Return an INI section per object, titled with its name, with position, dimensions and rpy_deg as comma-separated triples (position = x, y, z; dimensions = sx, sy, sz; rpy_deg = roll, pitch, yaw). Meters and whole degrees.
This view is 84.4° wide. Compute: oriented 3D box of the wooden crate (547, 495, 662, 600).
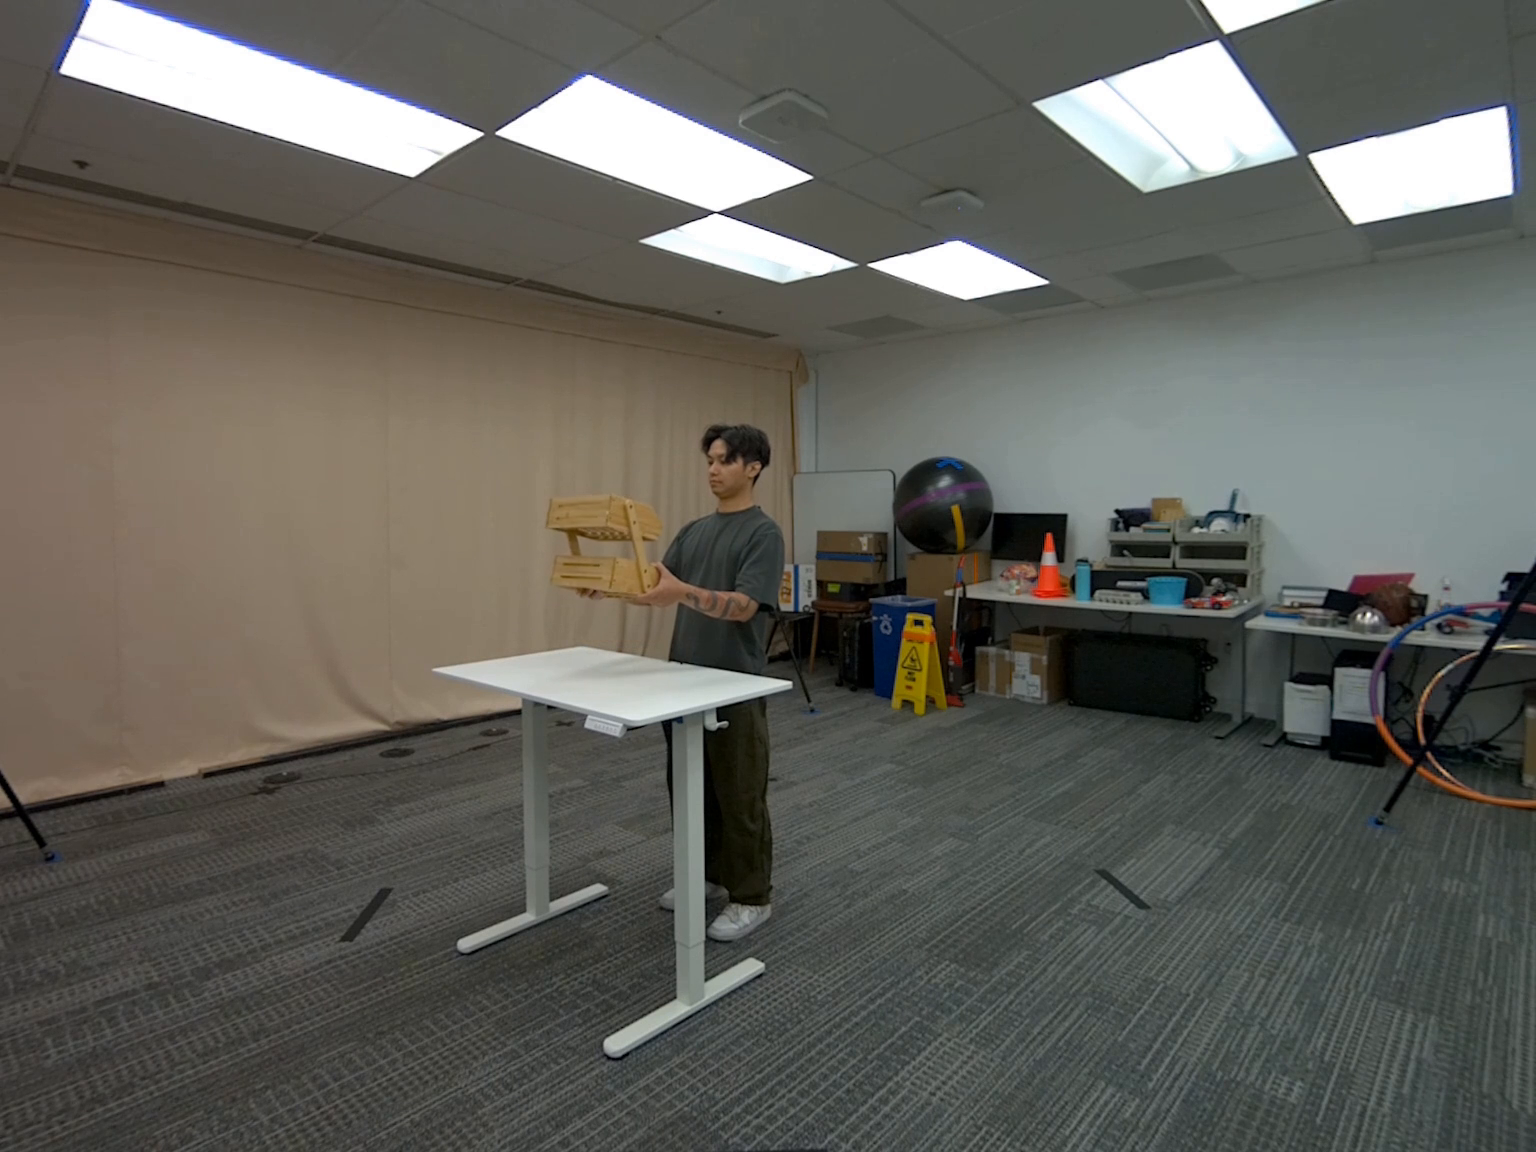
[wooden crate]
position = -0.468, -0.082, 2.539
dimensions = 0.335, 0.274, 0.291
rpy_deg = 1, -10, 43
